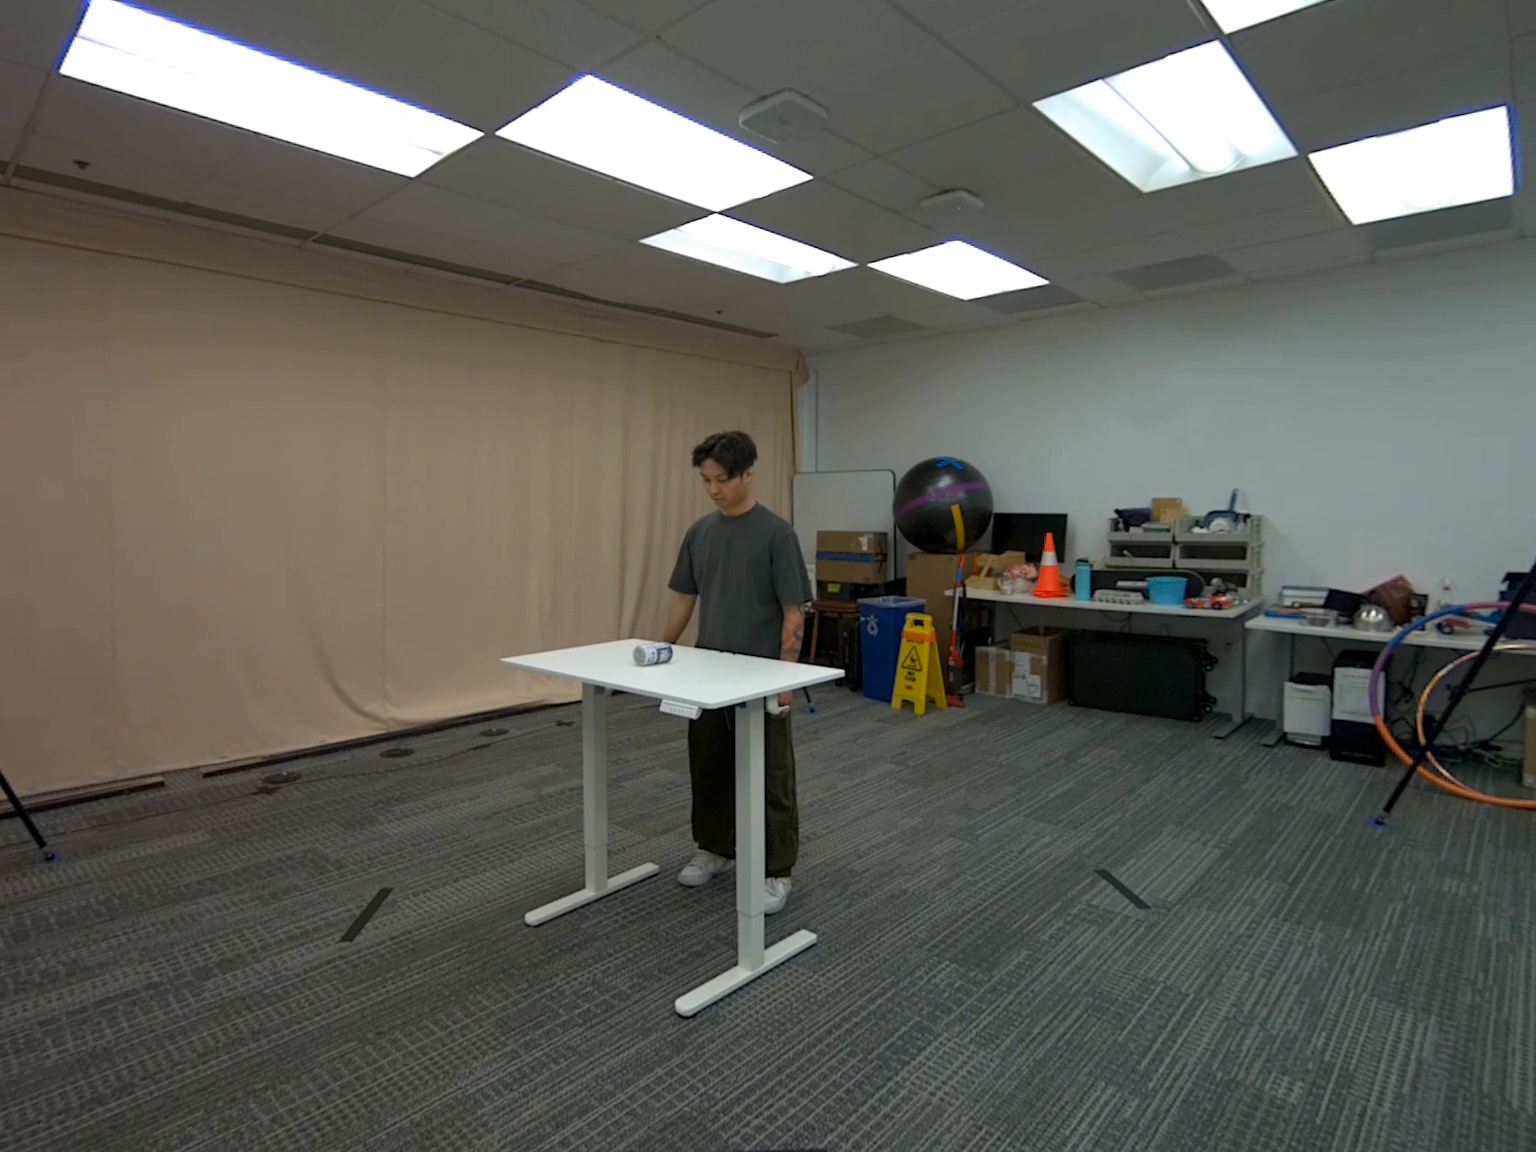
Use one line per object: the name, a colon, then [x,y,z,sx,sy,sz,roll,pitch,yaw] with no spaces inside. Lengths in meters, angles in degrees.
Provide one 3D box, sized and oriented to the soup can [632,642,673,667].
soup can: [-0.379,0.251,2.739,0.069,0.067,0.118,3,4,40]
